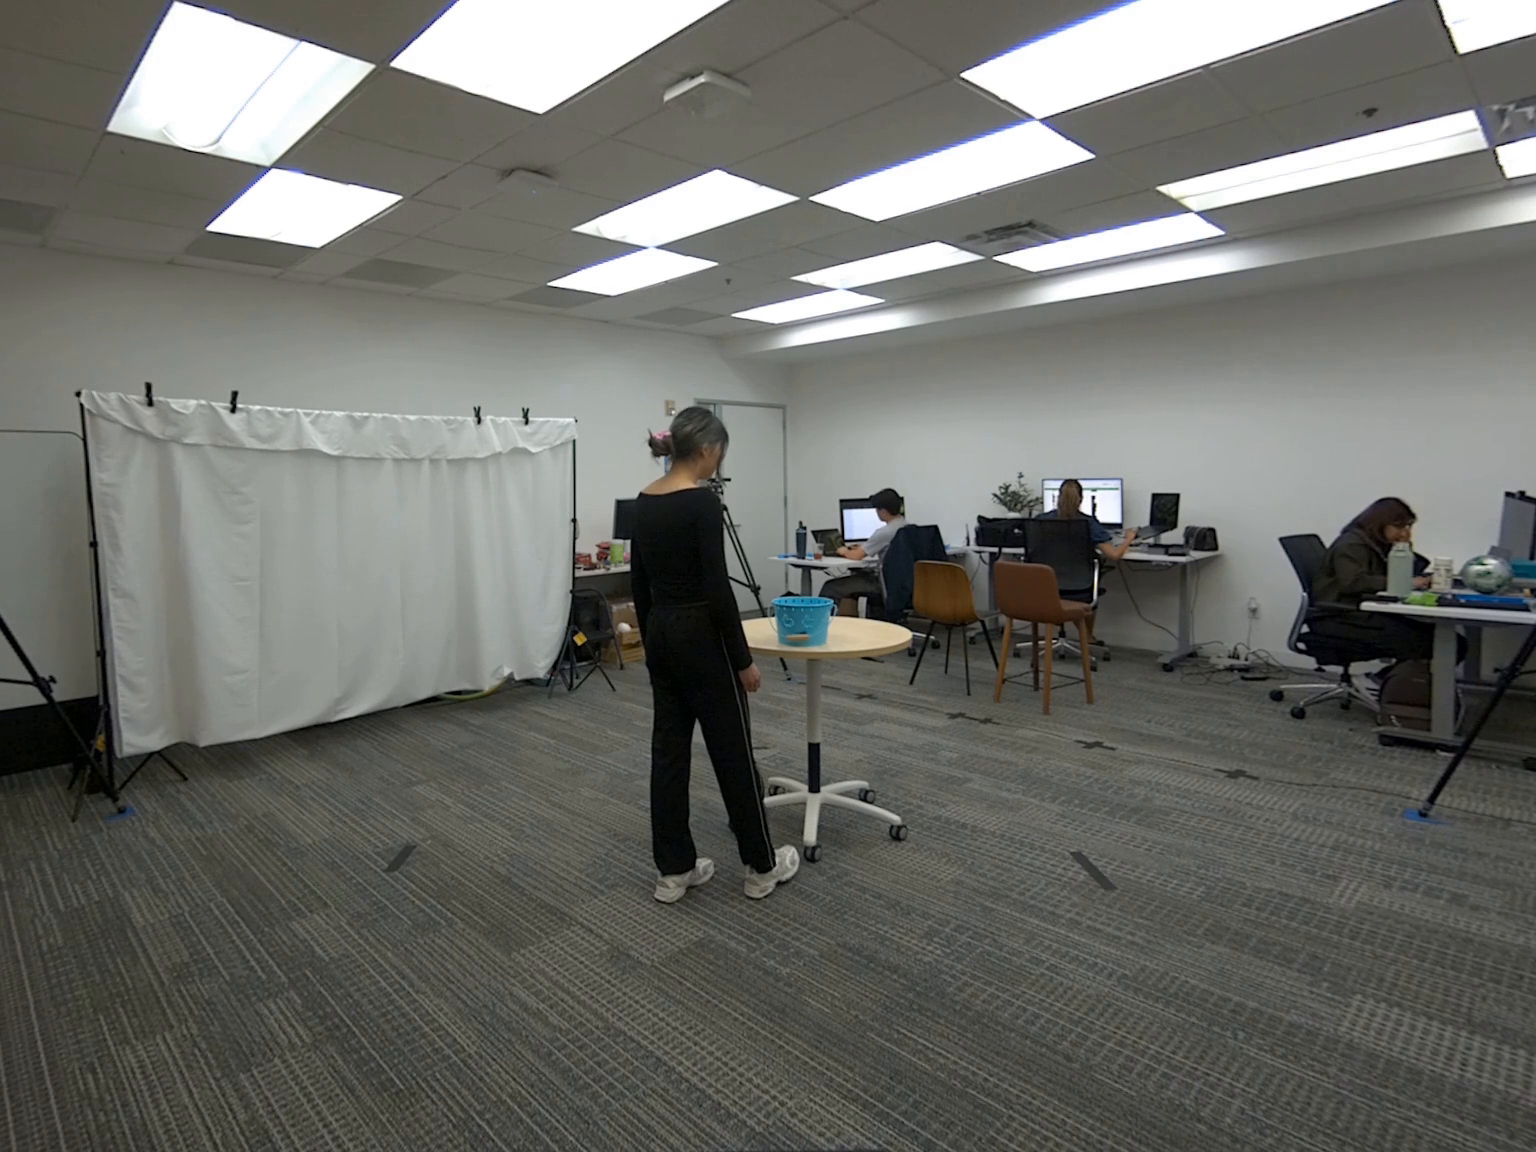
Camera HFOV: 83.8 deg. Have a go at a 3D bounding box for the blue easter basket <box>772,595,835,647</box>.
[{"bbox_3d":[0.132,0.169,3.181,0.243,0.155,0.245,0,5,-2],"label":"blue easter basket"}]
